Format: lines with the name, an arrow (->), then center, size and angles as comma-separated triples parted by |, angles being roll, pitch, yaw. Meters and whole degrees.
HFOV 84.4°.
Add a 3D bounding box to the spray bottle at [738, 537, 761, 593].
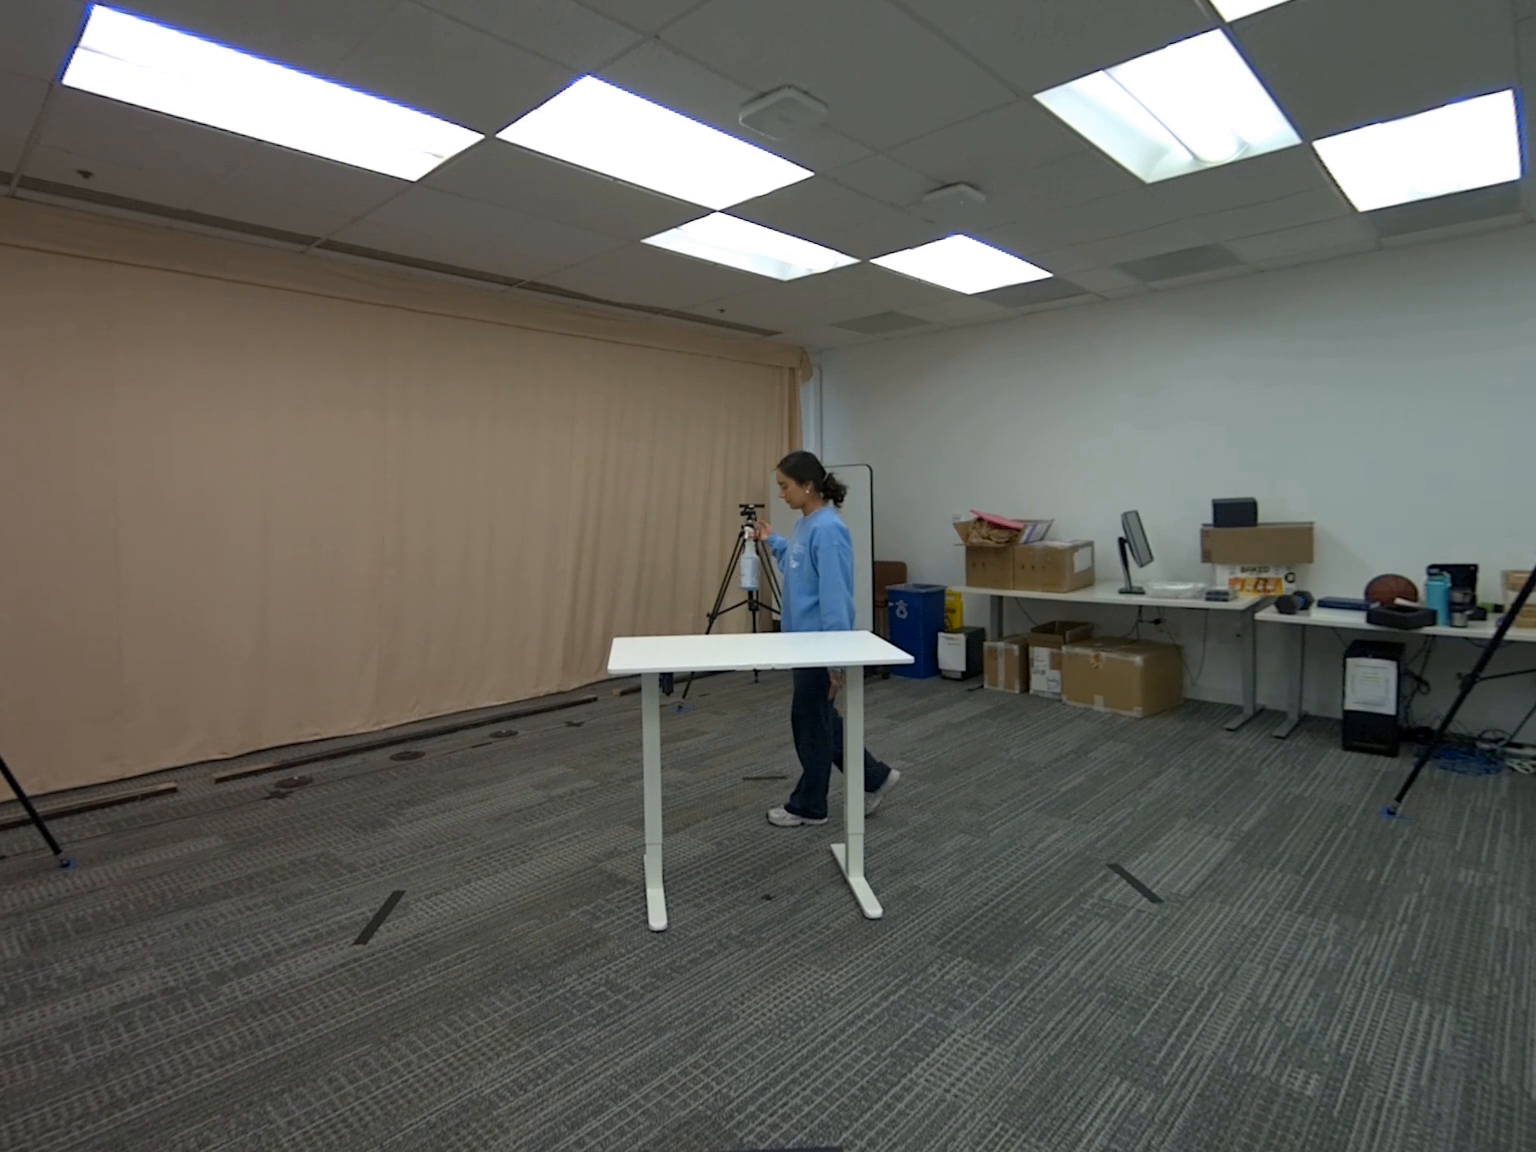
spray bottle -> -0.082, -0.075, 3.990 | 0.087, 0.298, 0.089 | 5, -7, -40
